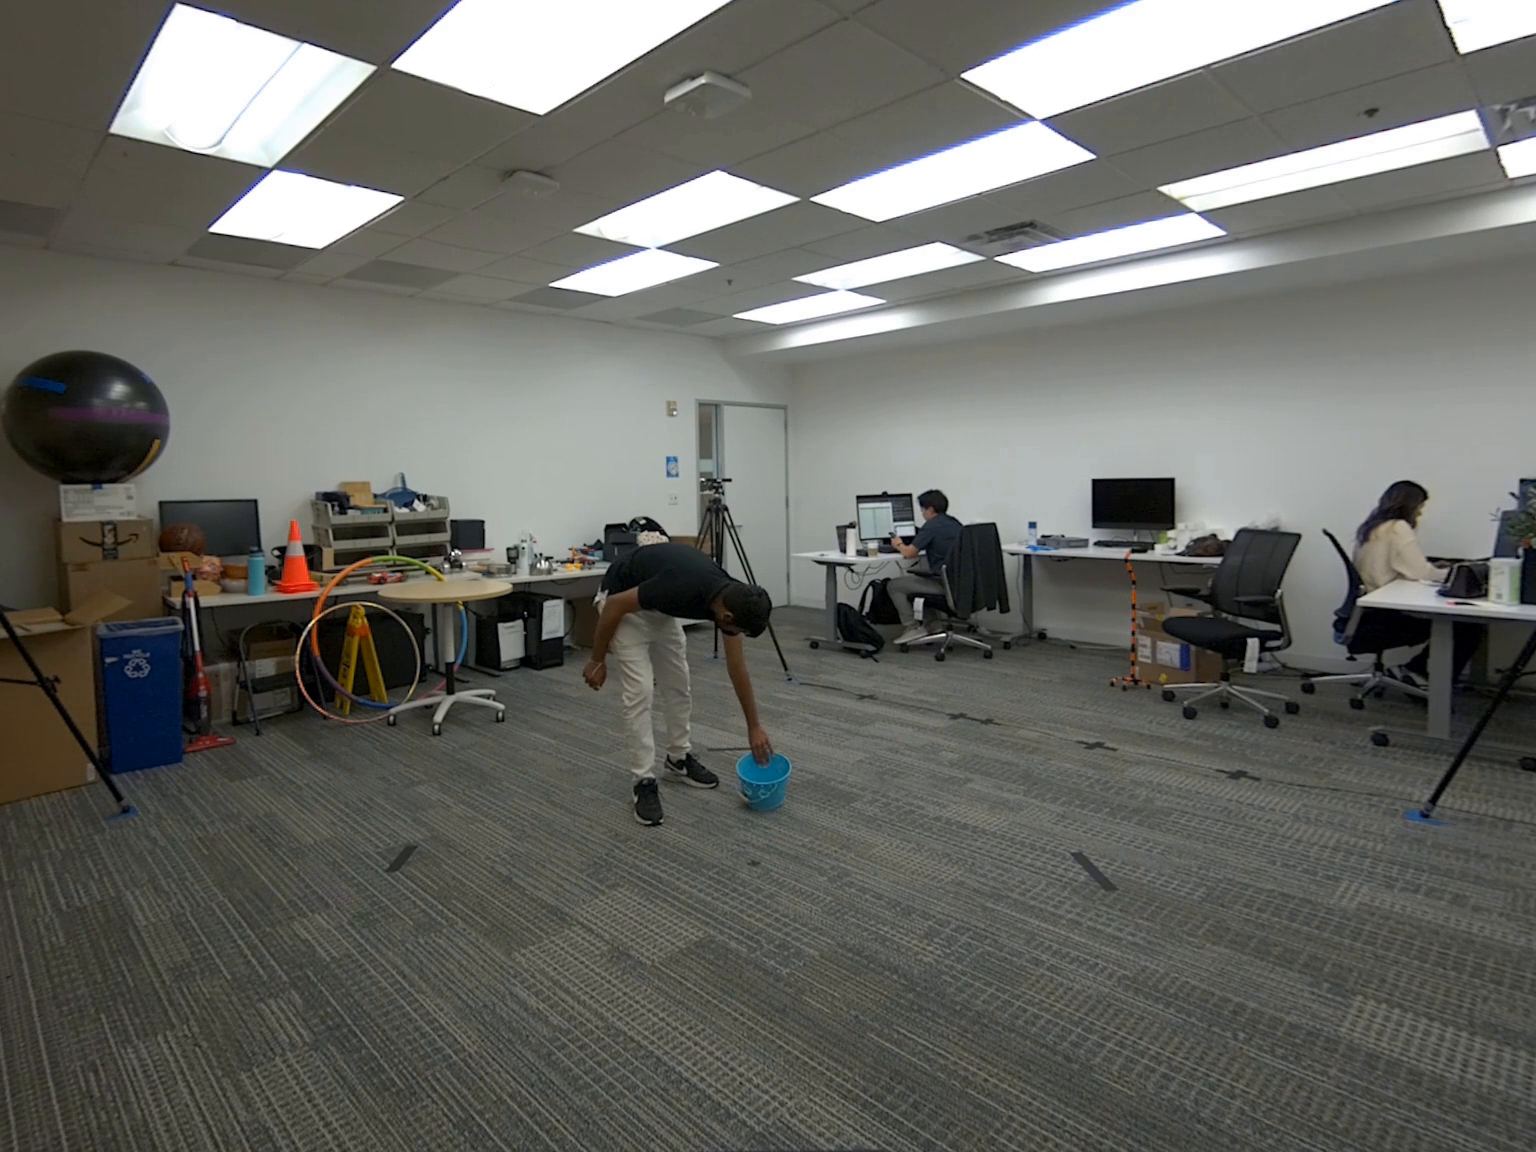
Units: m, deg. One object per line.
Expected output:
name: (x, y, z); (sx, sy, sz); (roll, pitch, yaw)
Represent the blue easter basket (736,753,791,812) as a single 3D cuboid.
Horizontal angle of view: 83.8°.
blue easter basket: (-0.023, 0.879, 3.663); (0.243, 0.153, 0.248); (-2, 20, -1)
